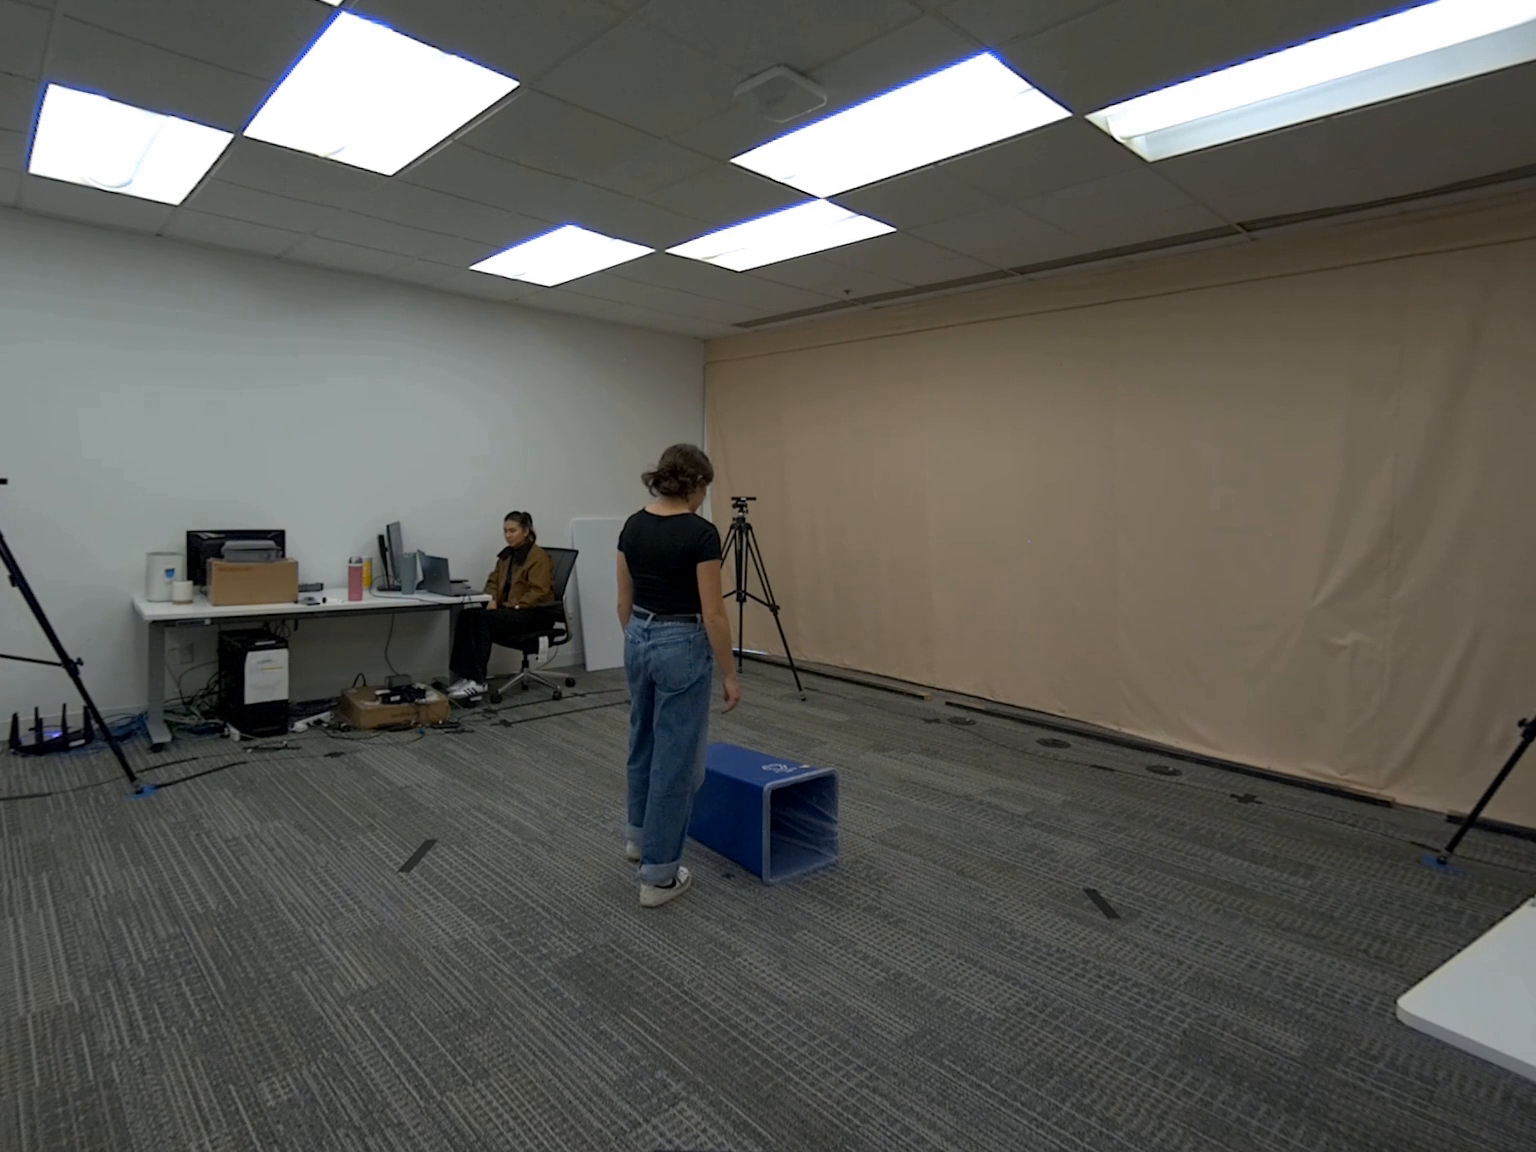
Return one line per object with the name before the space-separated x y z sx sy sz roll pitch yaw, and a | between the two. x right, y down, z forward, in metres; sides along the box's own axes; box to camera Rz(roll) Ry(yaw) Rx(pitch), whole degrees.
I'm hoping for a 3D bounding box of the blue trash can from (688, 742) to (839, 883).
blue trash can | -0.098 0.918 3.404 0.370 0.374 0.730 -3 3 -38
